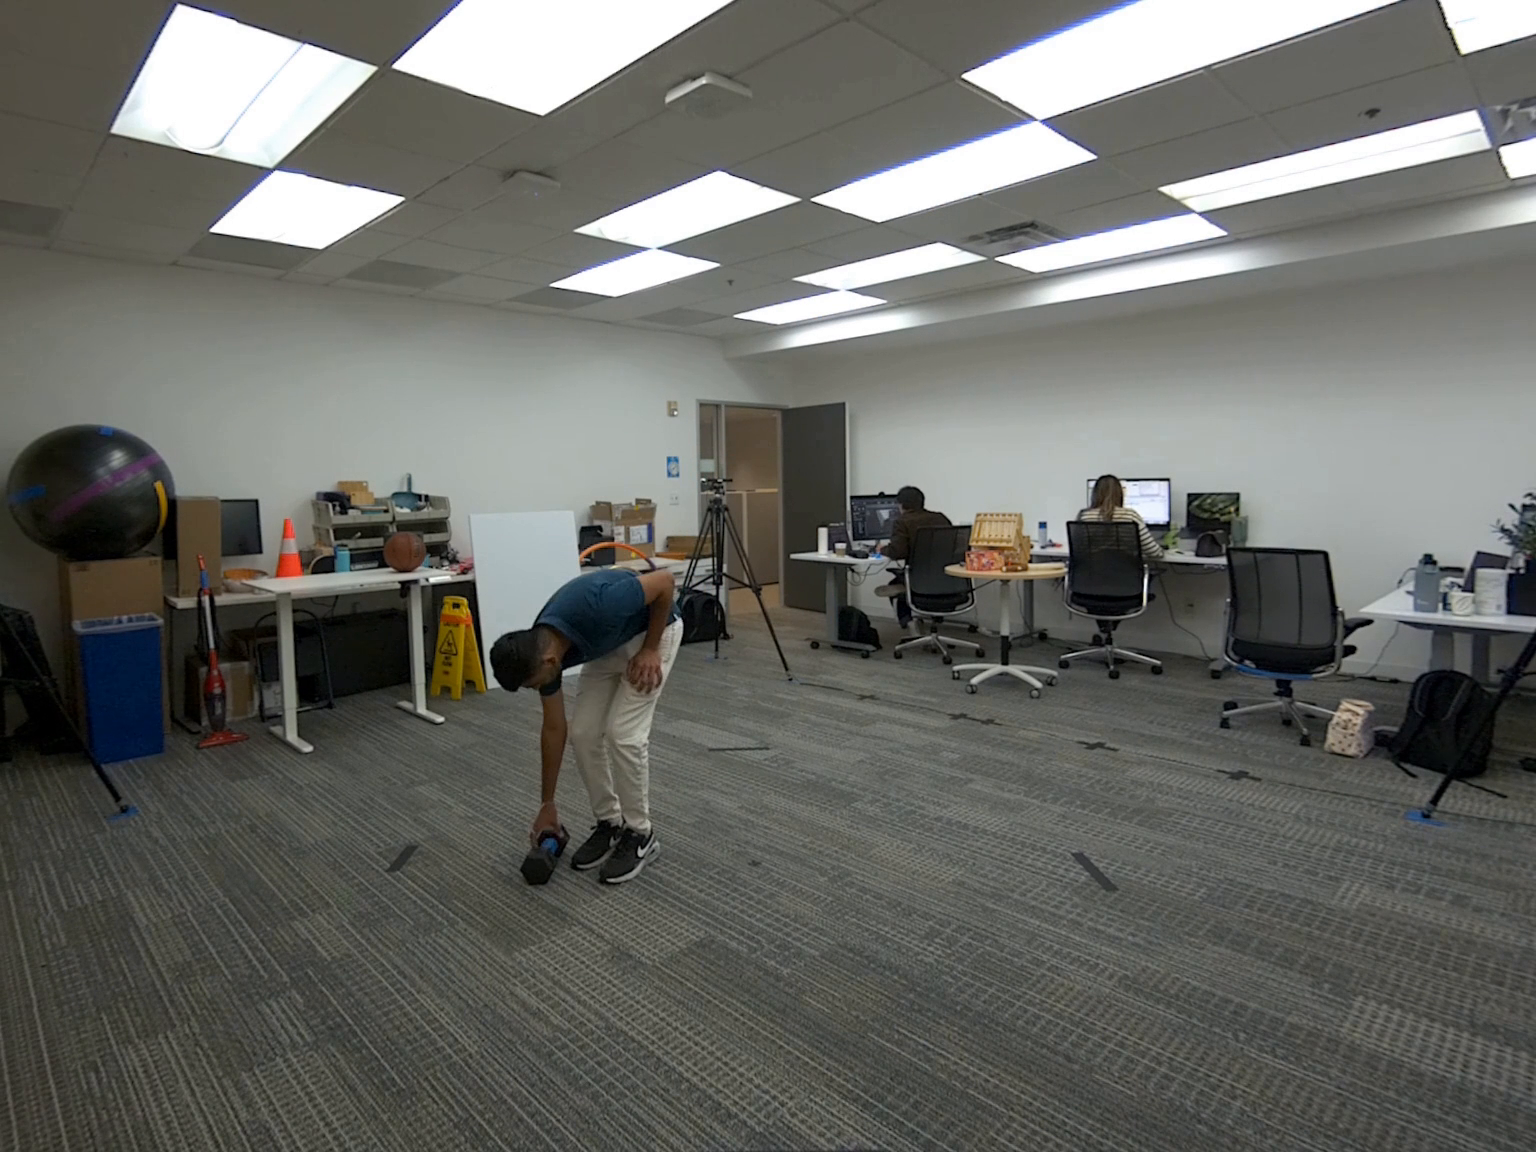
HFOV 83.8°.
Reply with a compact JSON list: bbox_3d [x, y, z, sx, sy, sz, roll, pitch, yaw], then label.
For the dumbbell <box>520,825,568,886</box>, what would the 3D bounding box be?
[{"bbox_3d":[-0.804,1.005,3.105,0.109,0.122,0.295,-30,6,2],"label":"dumbbell"}]
